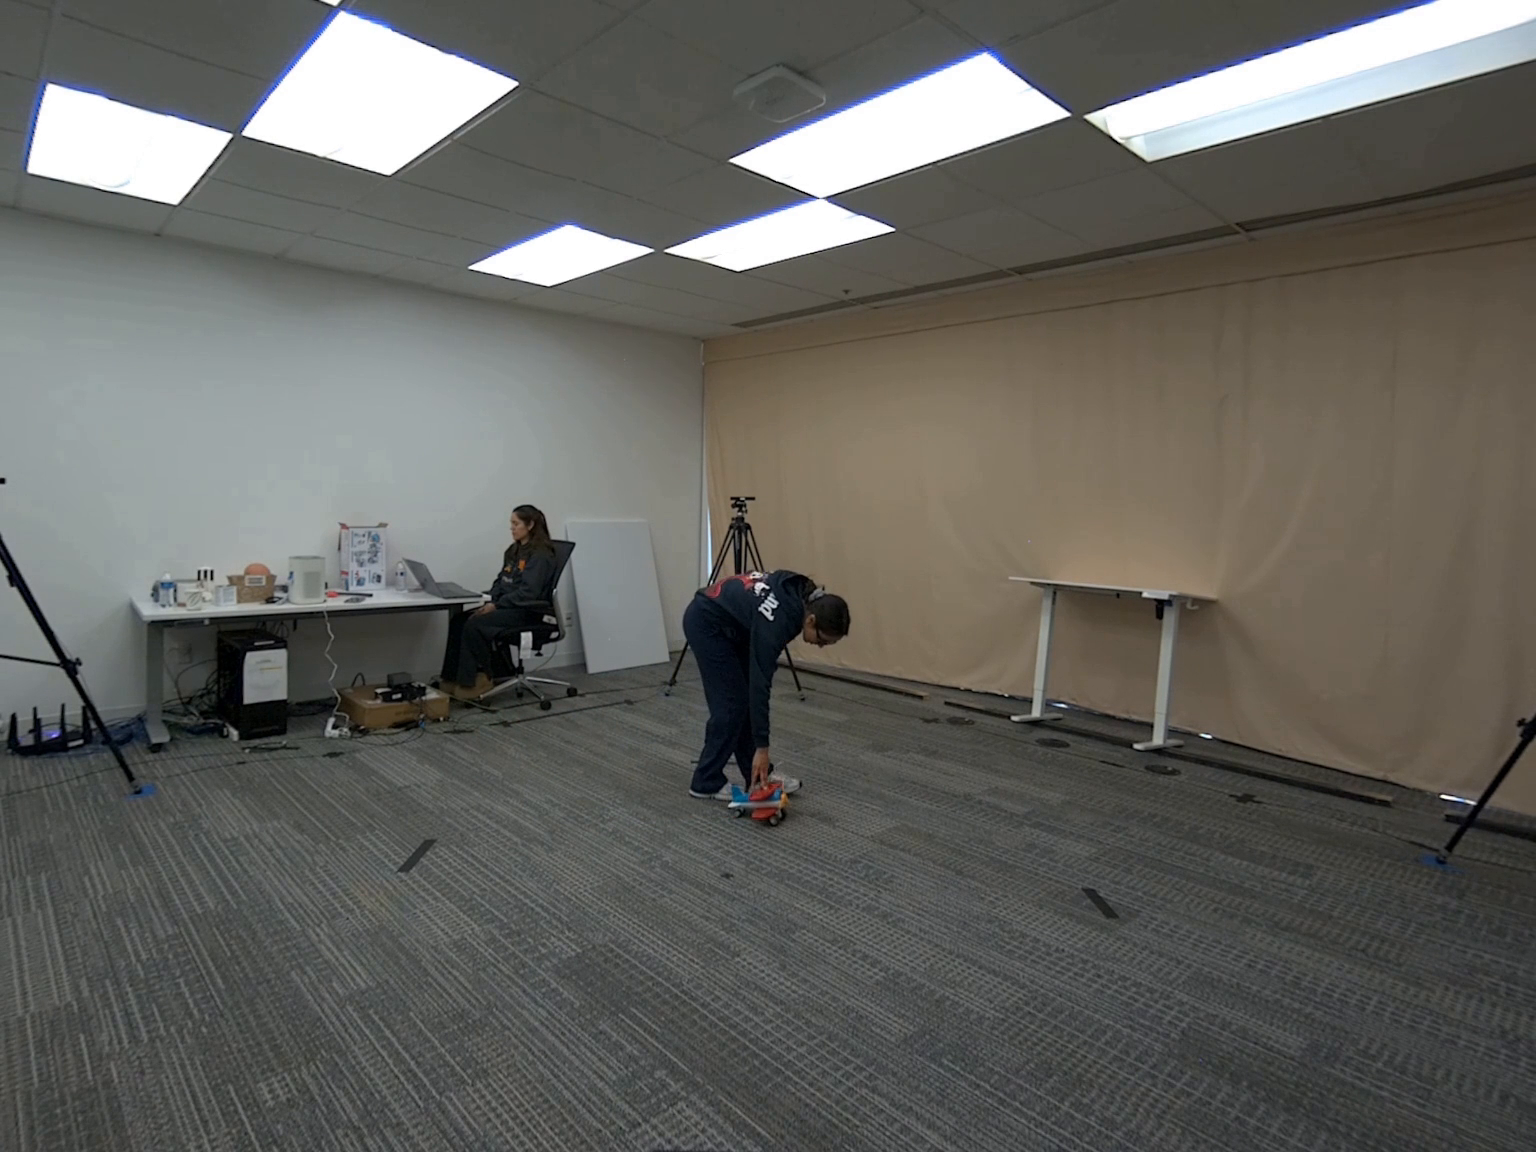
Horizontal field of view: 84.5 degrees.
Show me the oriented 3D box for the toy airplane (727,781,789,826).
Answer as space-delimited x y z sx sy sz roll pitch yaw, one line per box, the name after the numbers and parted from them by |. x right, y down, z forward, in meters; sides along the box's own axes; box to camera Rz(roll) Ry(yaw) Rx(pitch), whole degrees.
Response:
-0.056 0.988 3.649 0.258 0.156 0.253 2 4 -5 | toy airplane
